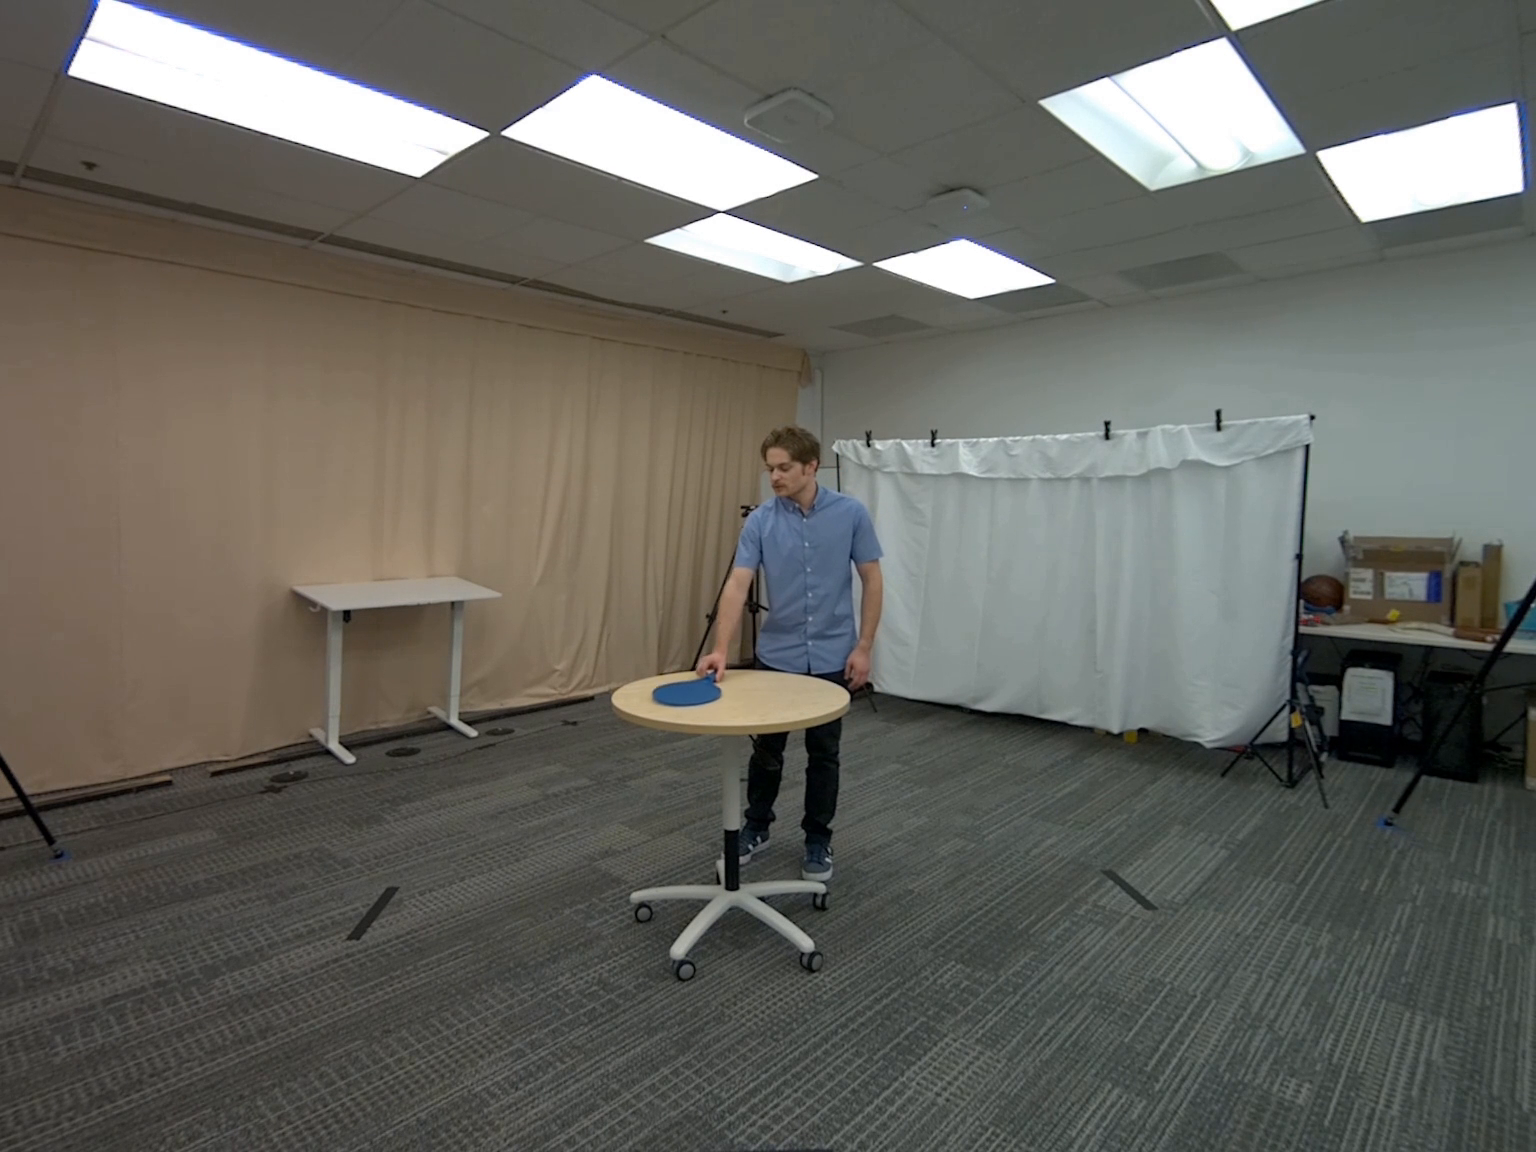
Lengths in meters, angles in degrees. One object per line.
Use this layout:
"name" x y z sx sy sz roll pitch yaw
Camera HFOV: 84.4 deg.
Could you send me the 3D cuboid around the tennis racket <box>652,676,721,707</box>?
"tennis racket" -0.232 0.368 2.769 0.217 0.031 0.427 5 8 14
